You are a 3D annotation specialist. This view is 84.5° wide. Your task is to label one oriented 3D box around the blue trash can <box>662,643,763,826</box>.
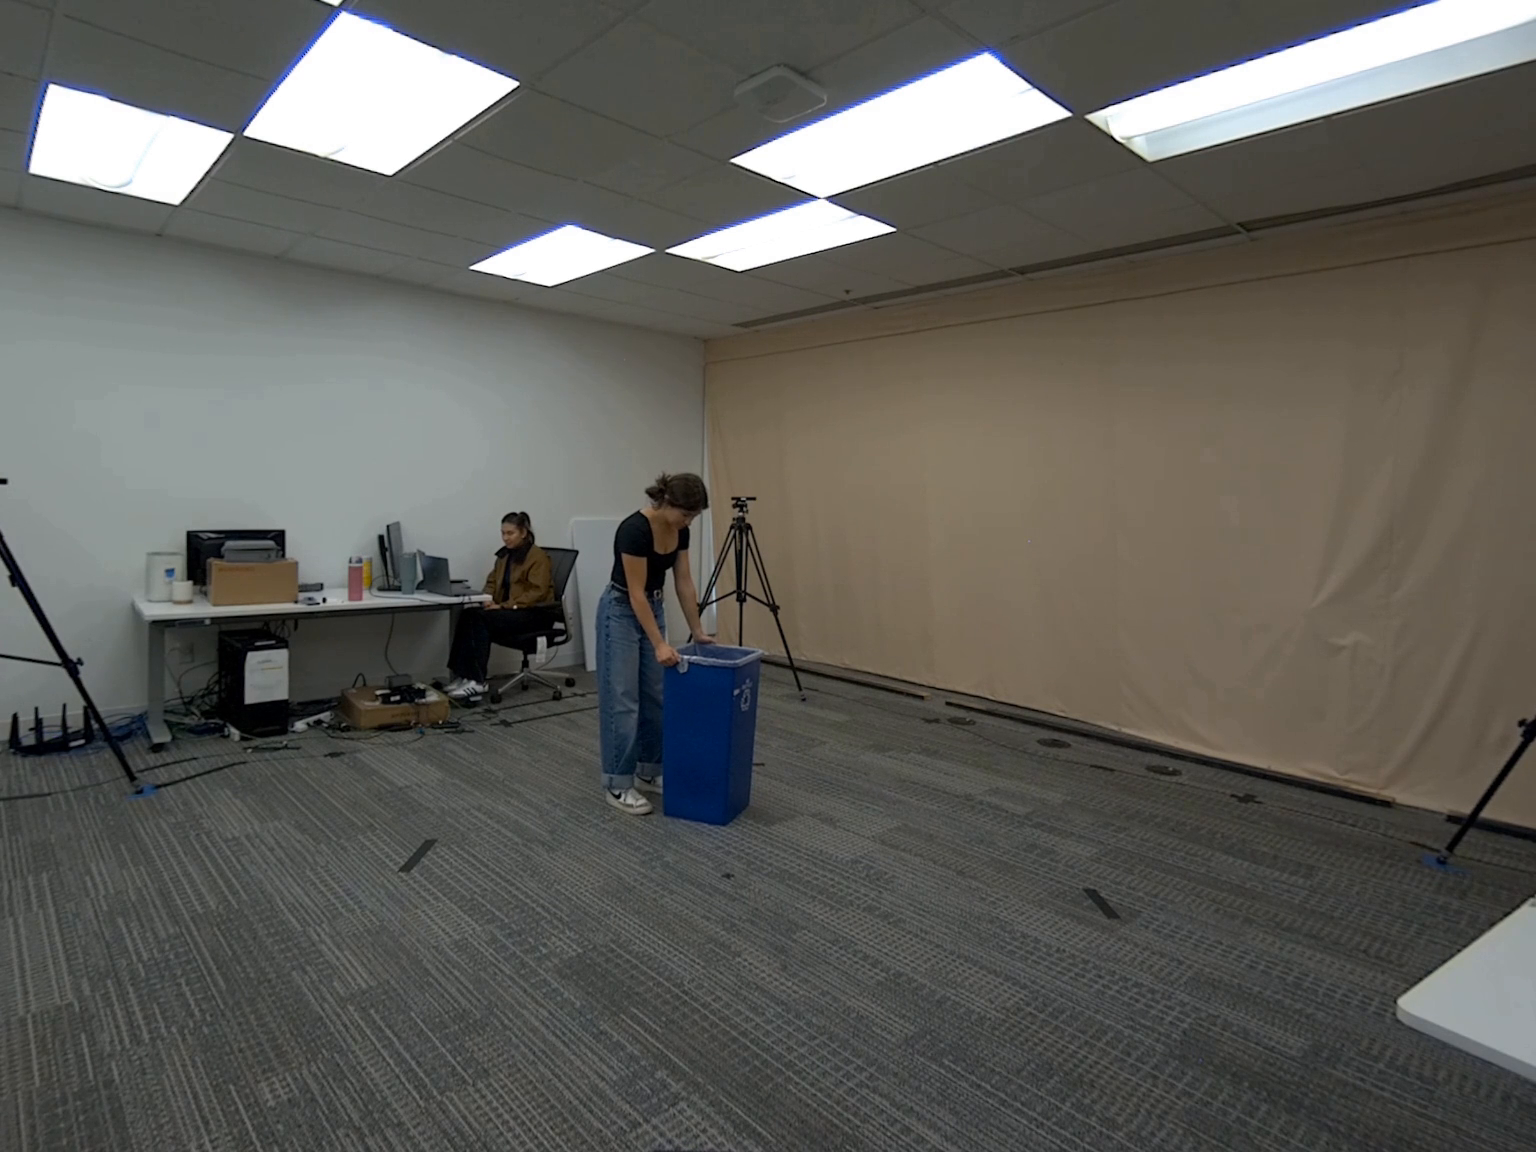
[{"bbox_3d":[-0.268,0.688,3.752,0.384,0.711,0.369,4,4,21],"label":"blue trash can"}]
